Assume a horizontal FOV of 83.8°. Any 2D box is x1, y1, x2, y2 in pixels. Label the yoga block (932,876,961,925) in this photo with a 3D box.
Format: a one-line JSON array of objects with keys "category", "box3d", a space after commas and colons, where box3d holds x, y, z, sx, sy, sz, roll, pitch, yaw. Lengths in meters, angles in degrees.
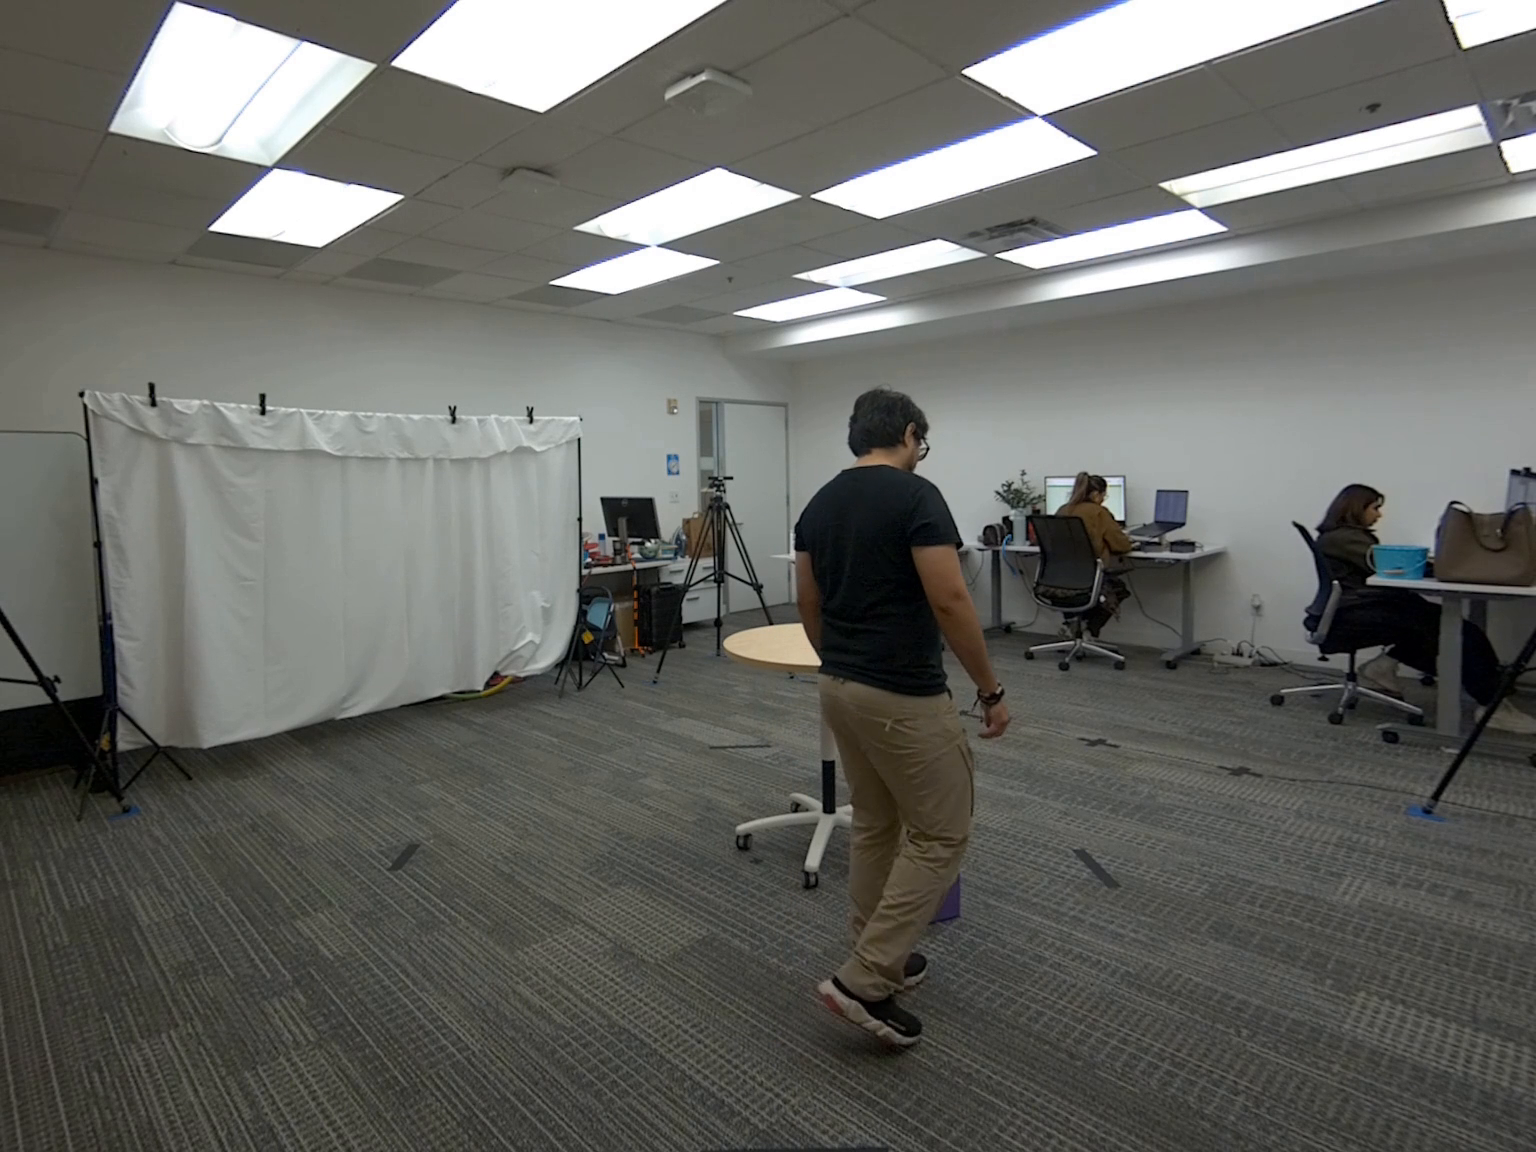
[{"category": "yoga block", "box3d": [0.502, 1.002, 2.673, 0.225, 0.149, 0.078, -3, 2, -21]}]
